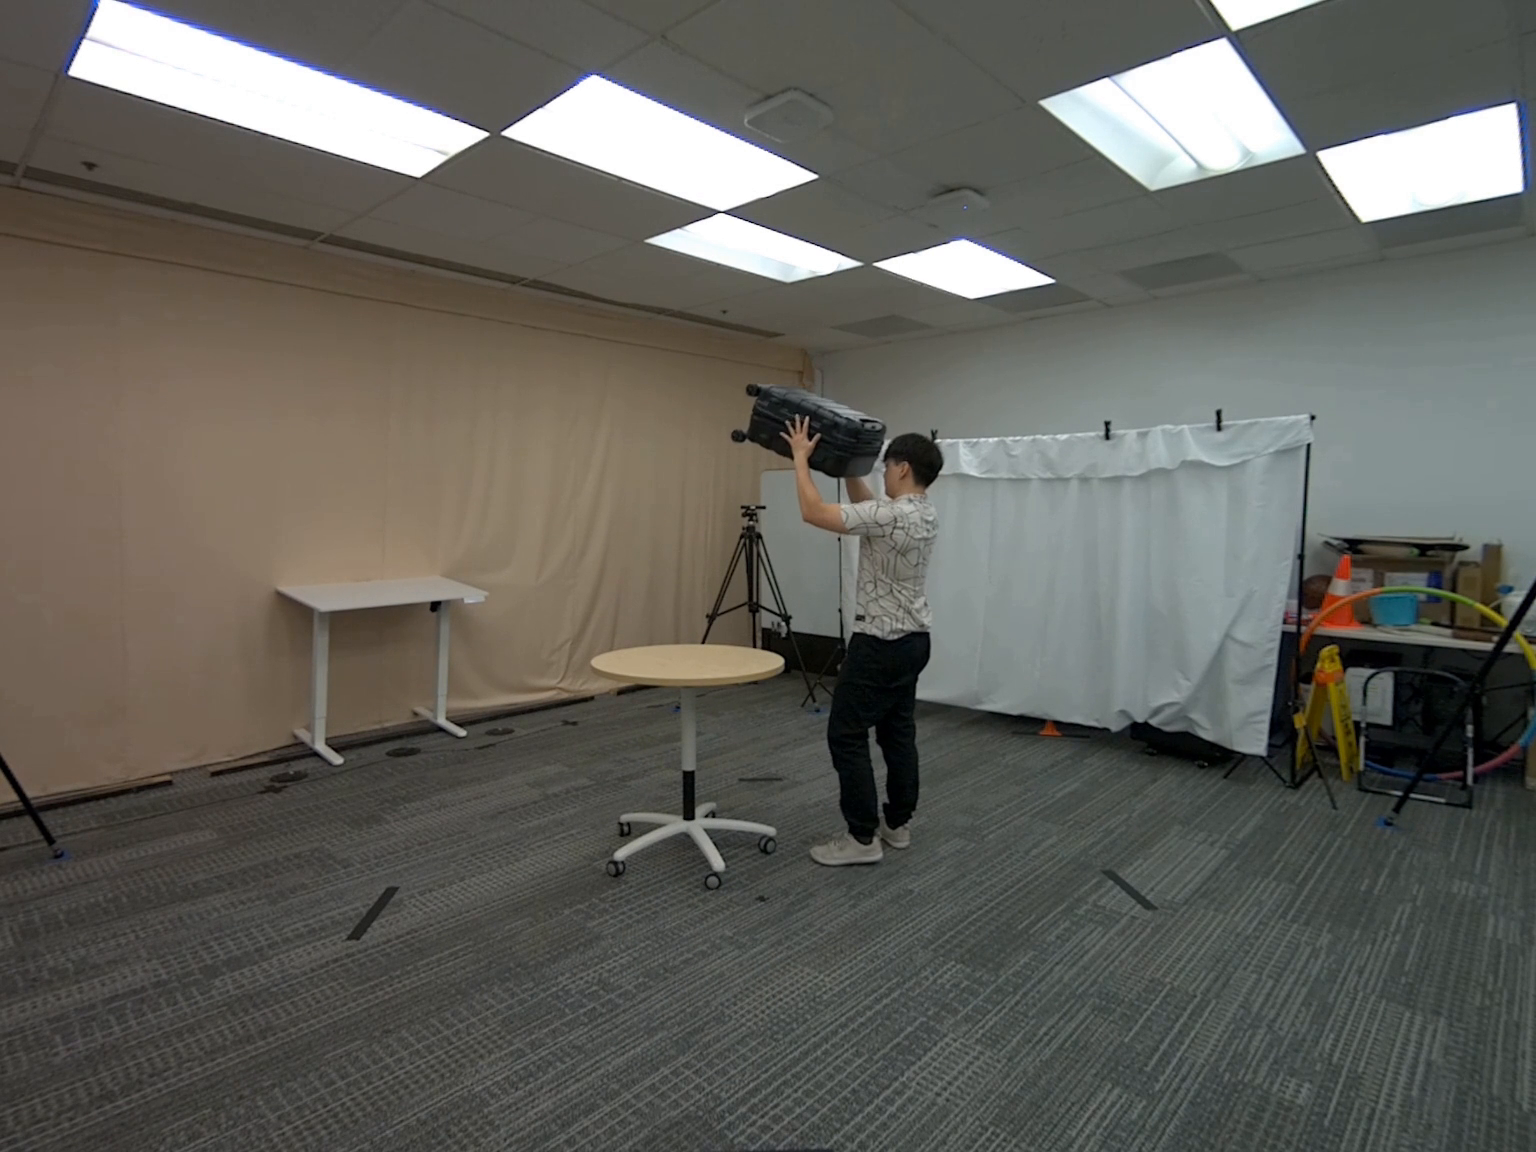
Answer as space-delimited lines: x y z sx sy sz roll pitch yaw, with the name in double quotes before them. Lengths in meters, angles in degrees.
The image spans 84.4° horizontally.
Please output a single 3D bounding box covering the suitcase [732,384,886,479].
"suitcase" 0.193 -0.605 3.517 0.567 0.247 0.365 28 21 29
